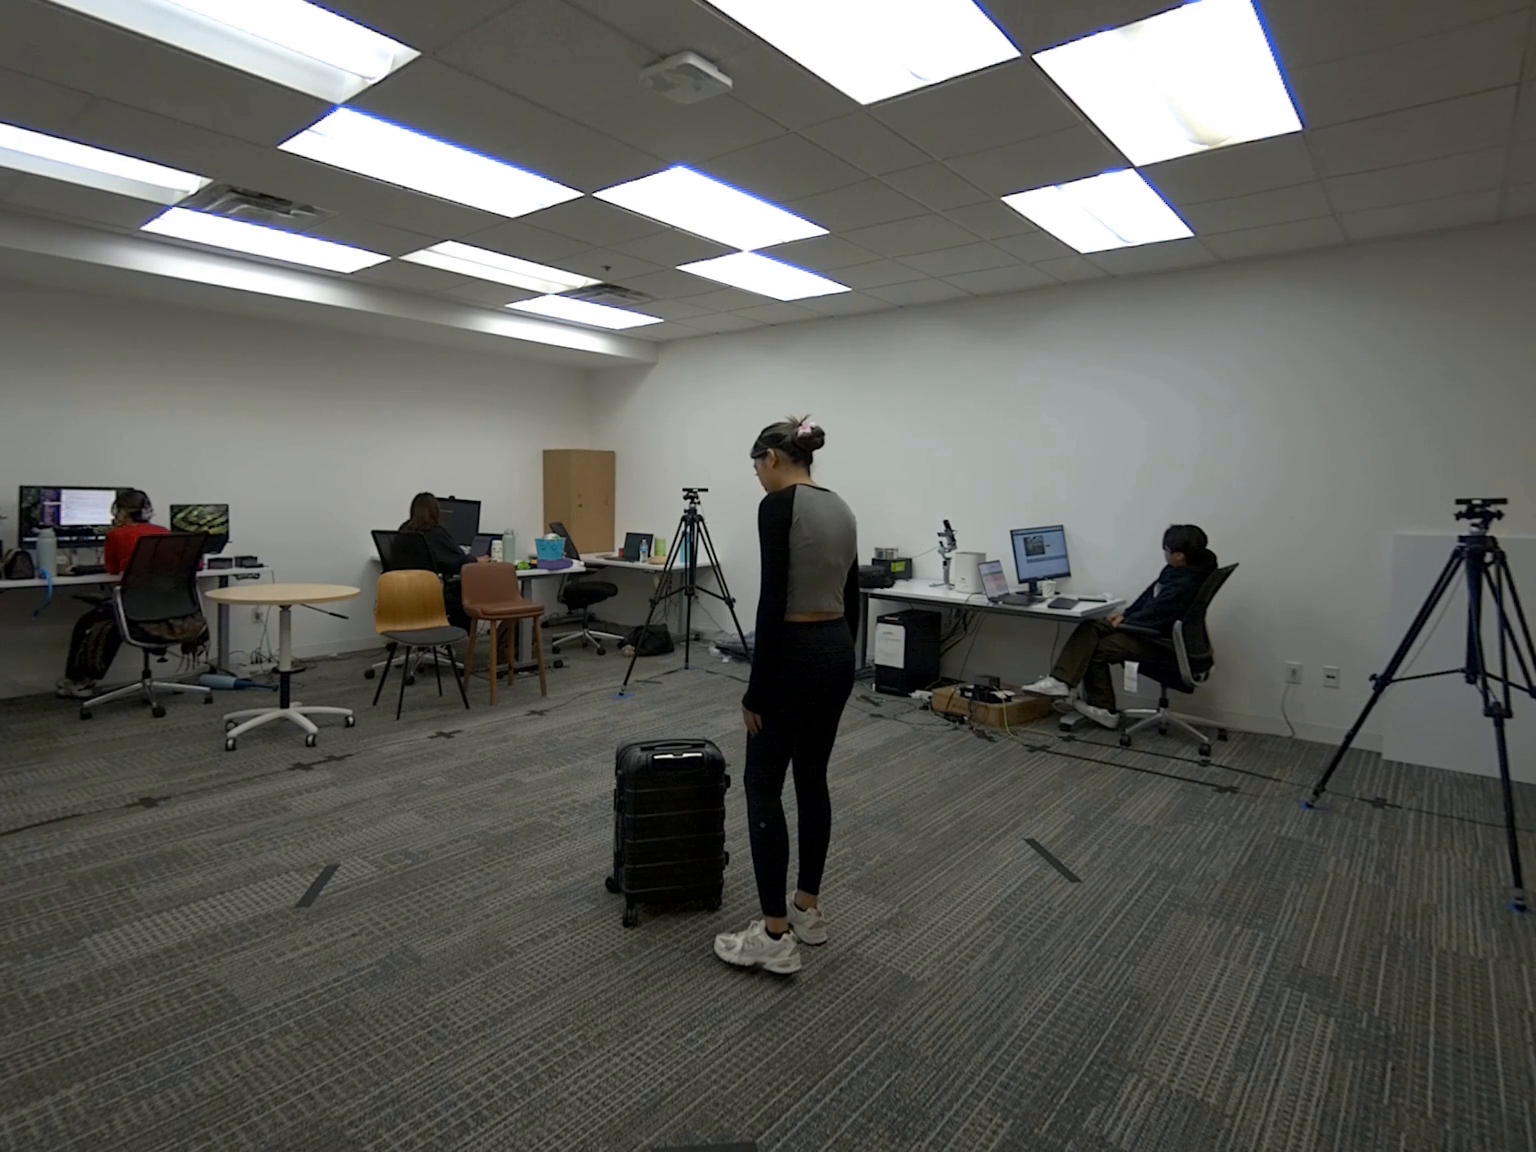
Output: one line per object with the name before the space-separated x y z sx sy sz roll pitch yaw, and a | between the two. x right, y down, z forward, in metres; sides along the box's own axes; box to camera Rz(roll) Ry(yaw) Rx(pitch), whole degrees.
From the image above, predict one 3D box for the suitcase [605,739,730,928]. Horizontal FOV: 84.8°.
suitcase | -0.345 0.813 2.854 0.369 0.548 0.253 0 3 -17
